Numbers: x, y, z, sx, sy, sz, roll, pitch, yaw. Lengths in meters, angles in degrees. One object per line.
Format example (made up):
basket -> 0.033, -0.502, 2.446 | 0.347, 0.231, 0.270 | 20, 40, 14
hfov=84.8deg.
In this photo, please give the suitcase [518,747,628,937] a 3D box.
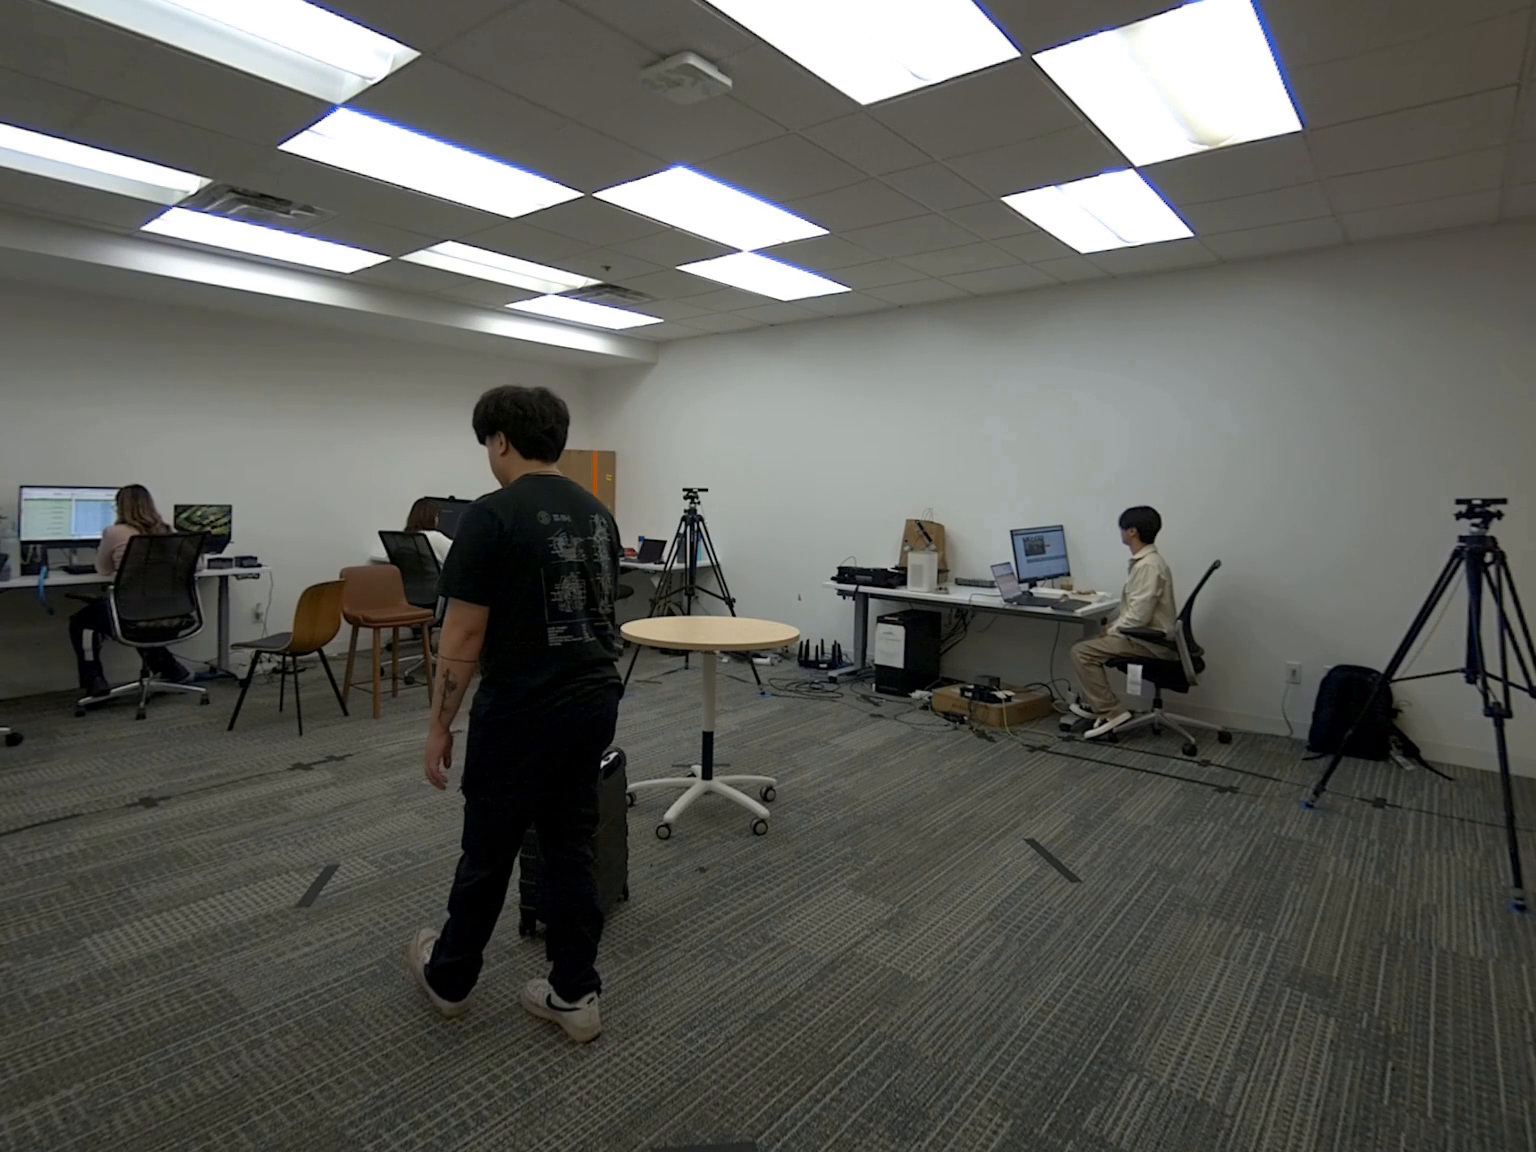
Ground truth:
suitcase -> -0.625, 0.831, 2.718 | 0.252, 0.547, 0.372 | 1, 4, 11
